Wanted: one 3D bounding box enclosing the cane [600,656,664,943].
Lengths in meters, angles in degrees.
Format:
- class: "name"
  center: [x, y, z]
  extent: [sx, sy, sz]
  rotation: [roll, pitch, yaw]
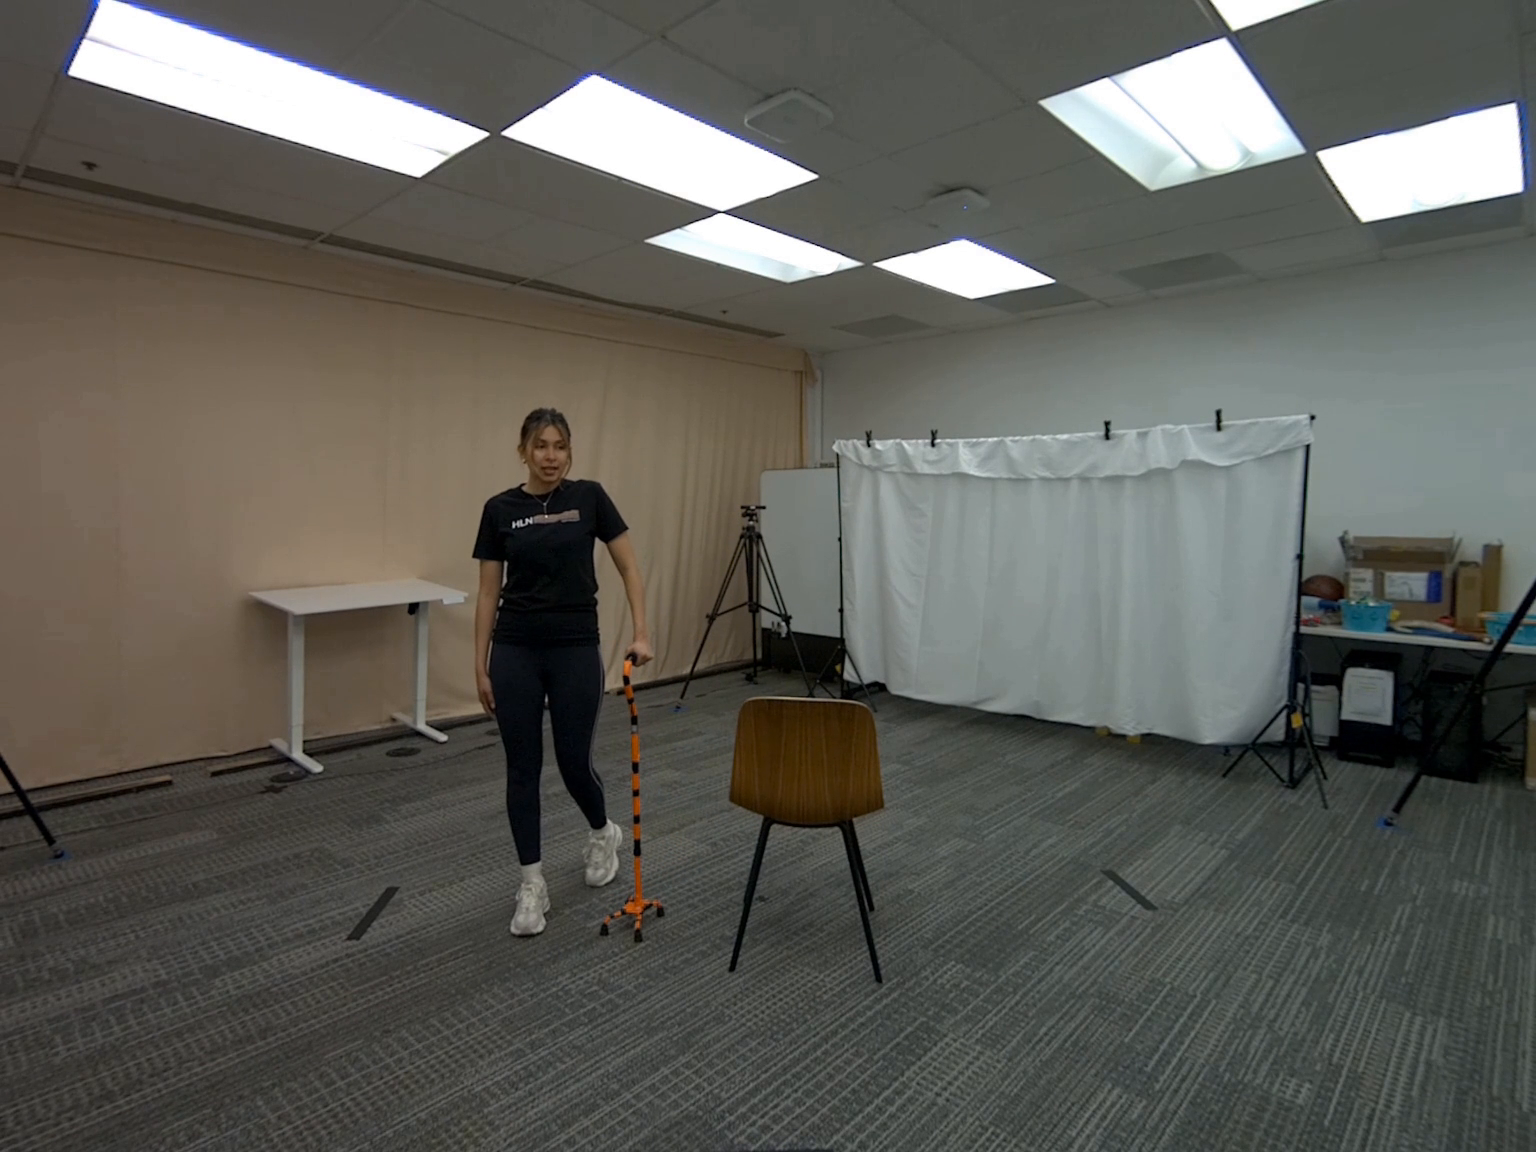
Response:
- class: "cane"
  center: [-0.447, 0.711, 2.777]
  extent: [0.154, 0.906, 0.203]
  rotation: [1, 3, 15]
